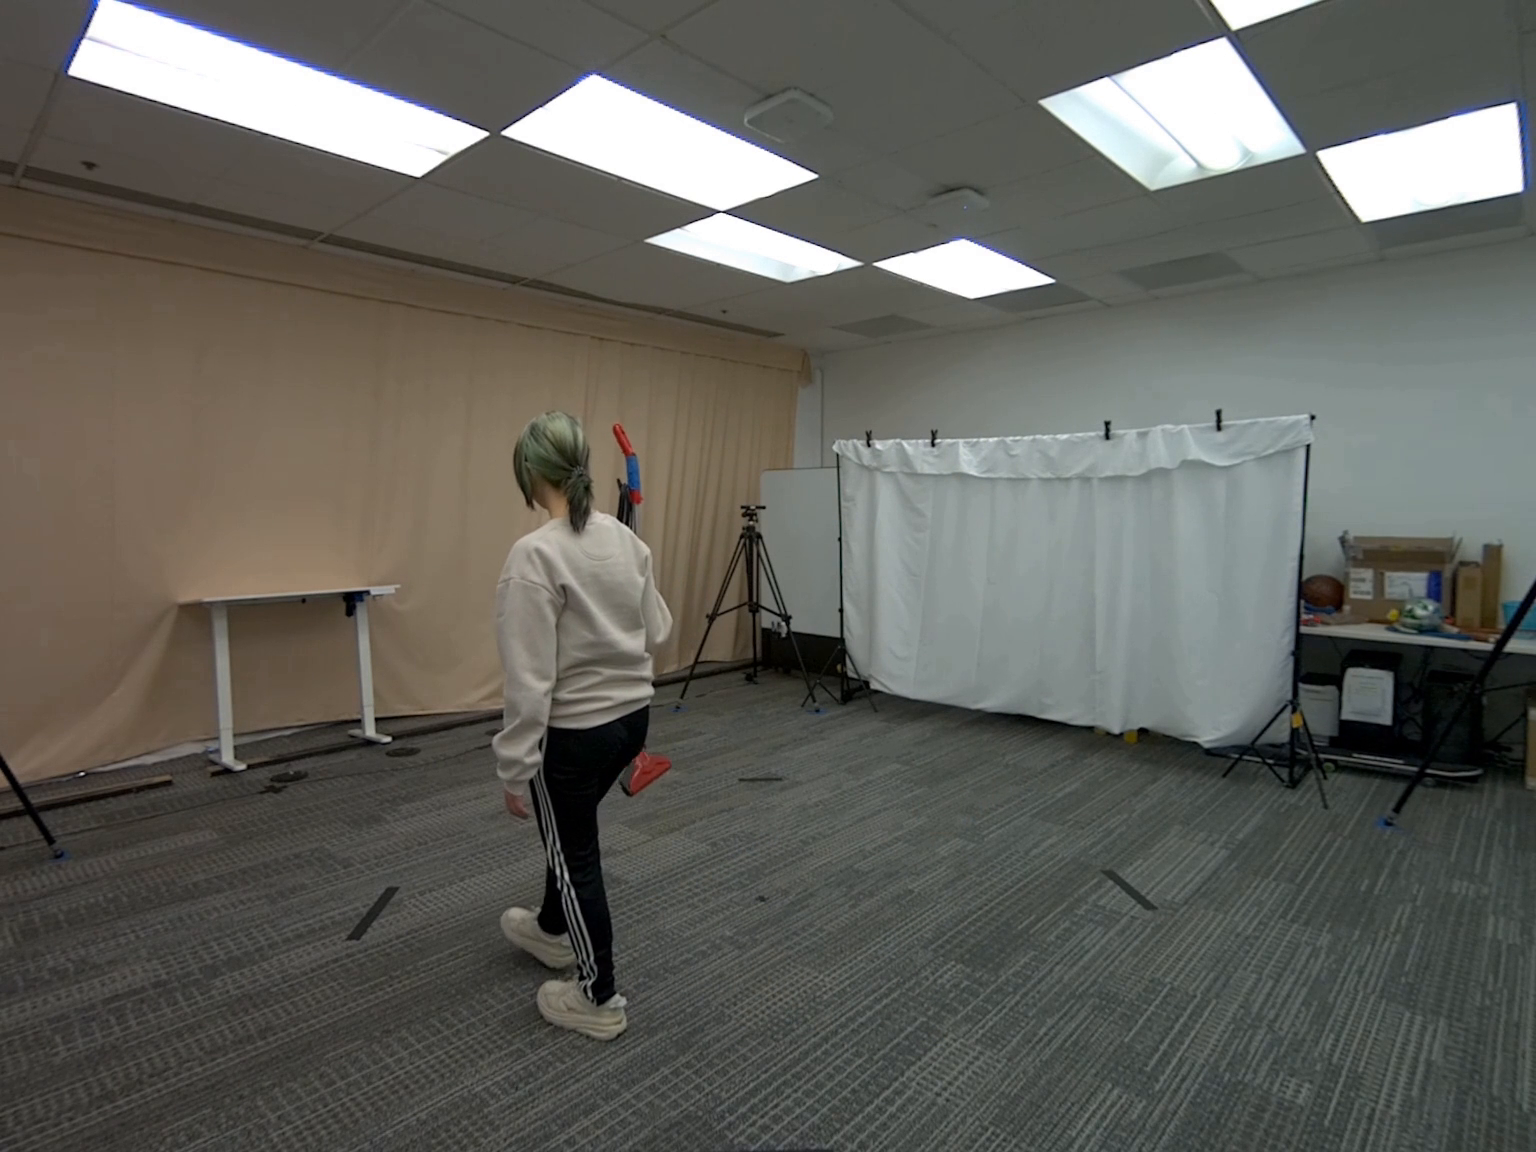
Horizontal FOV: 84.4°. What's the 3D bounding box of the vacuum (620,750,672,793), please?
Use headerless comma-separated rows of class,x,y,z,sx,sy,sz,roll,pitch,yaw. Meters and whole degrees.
vacuum,-0.415,0.075,2.575,0.146,1.044,0.249,2,8,15
